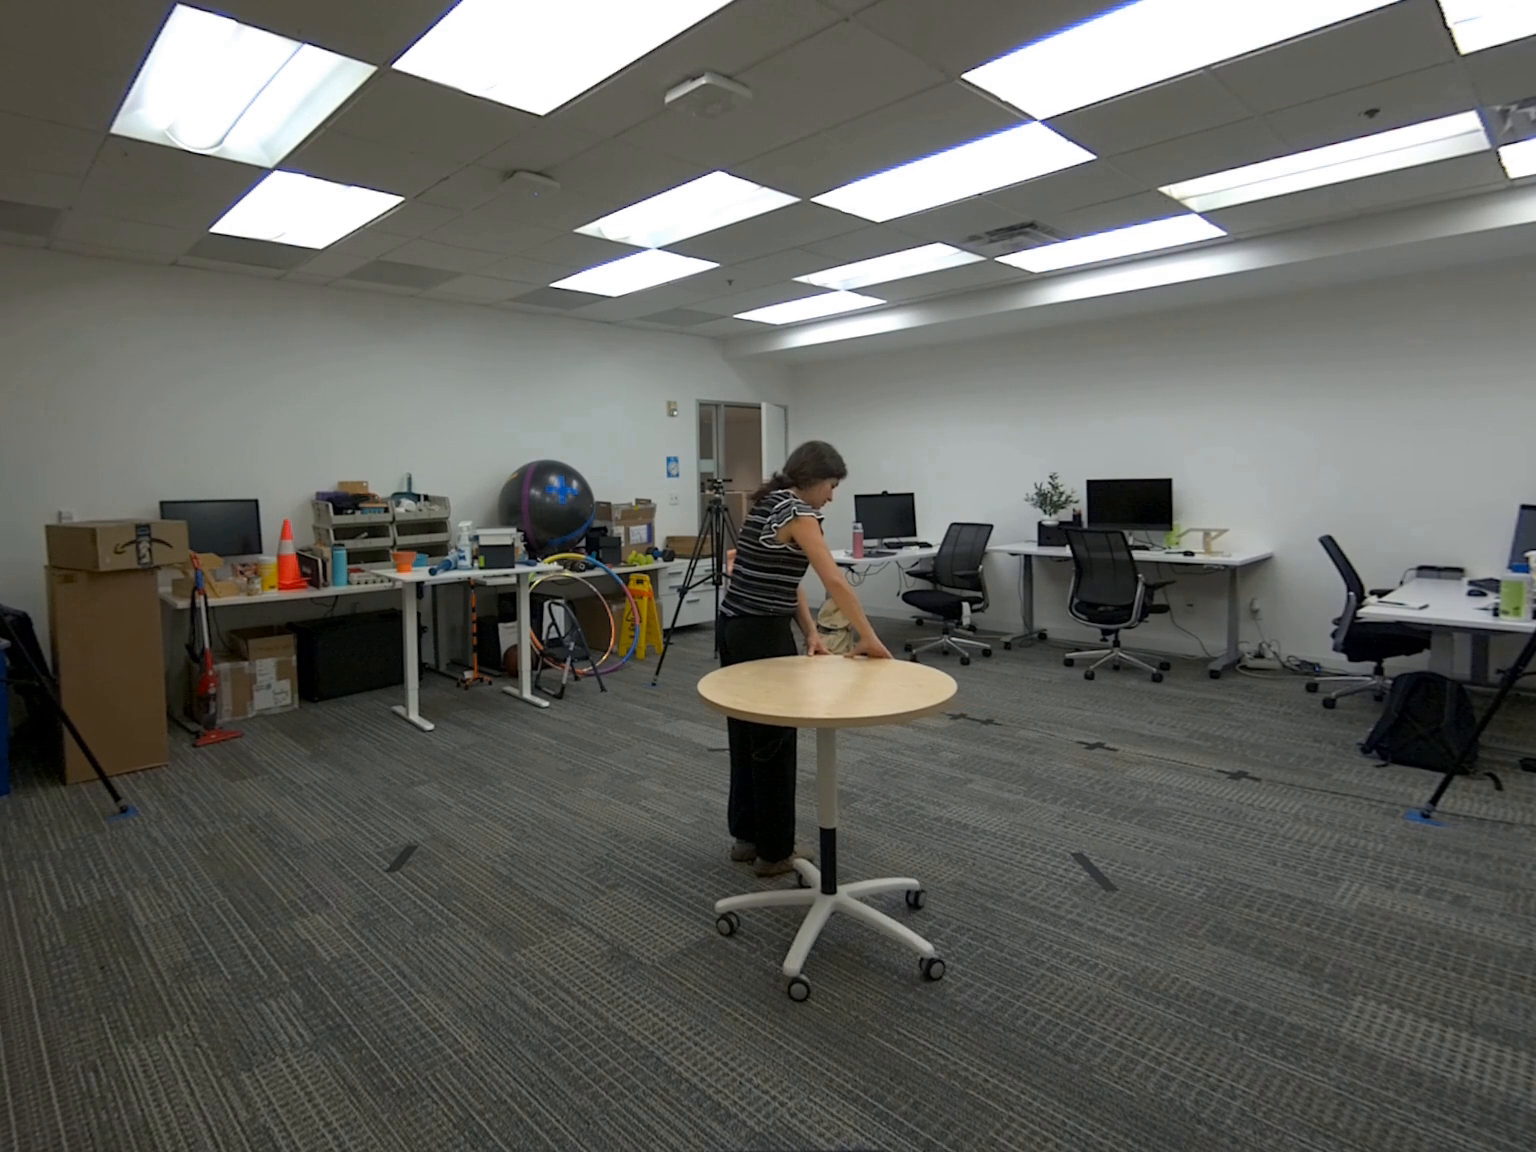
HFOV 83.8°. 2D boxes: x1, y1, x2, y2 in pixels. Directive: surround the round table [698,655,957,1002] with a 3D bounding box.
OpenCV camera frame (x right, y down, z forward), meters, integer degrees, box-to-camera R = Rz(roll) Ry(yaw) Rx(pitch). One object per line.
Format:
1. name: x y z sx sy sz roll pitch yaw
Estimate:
1. round table: 0.187 0.707 2.594 0.784 0.783 0.789 -2 5 -2
